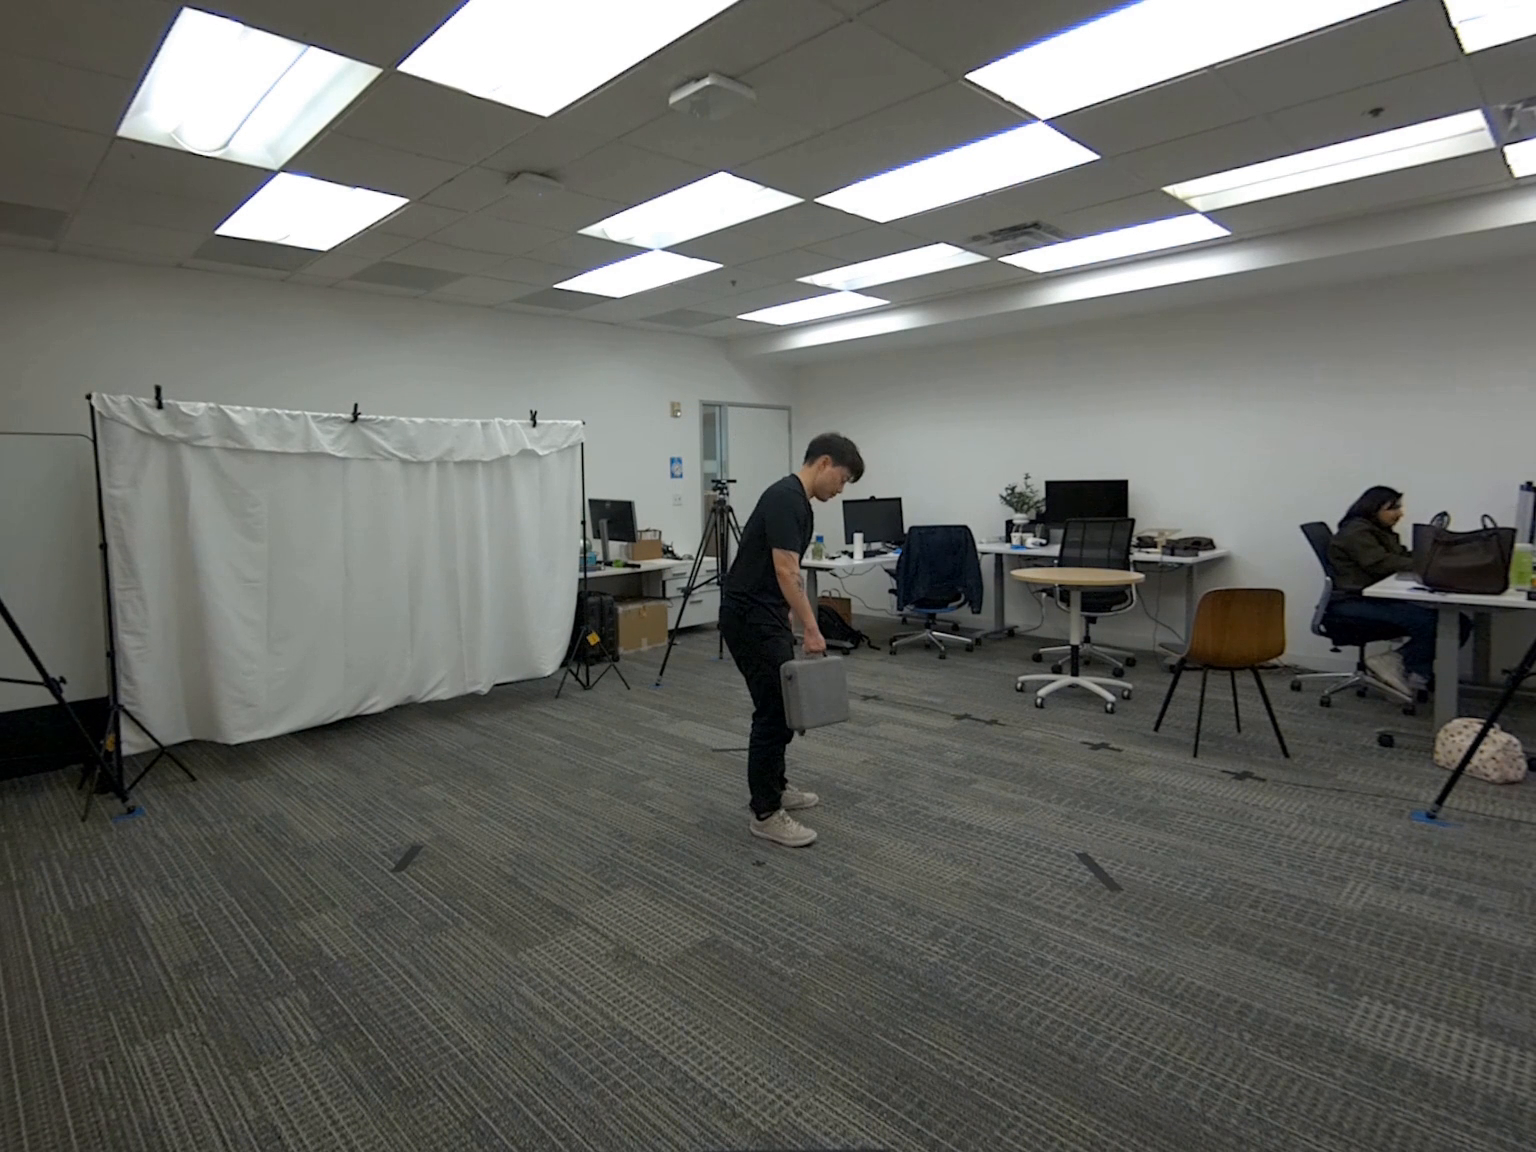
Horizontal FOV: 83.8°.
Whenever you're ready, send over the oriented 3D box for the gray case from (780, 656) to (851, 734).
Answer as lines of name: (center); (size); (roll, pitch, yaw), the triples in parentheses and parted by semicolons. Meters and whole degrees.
gray case: (0.178, 0.432, 3.199); (0.250, 0.261, 0.107); (-4, -3, -35)
